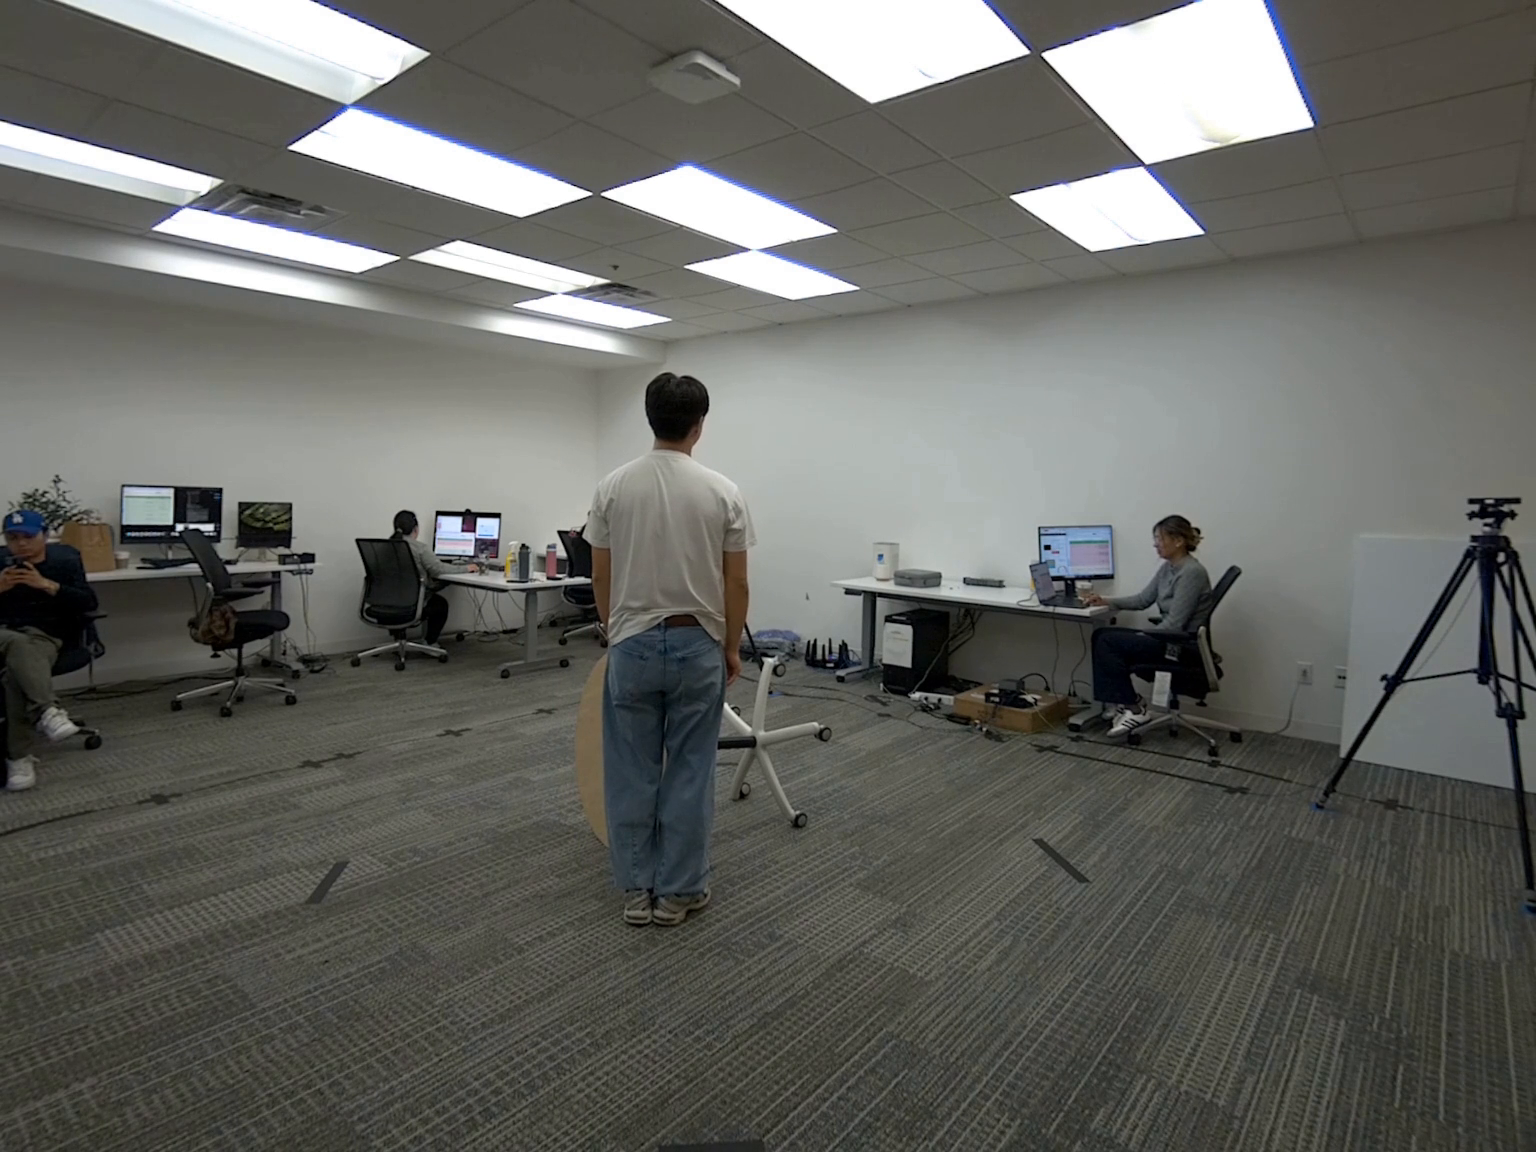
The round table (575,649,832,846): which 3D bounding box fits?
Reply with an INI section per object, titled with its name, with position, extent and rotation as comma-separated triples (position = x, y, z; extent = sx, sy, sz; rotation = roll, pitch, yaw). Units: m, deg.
[round table]
position = -0.275, 0.692, 3.497
extent = 0.768, 0.764, 0.789
rotation = 7, 0, -37
